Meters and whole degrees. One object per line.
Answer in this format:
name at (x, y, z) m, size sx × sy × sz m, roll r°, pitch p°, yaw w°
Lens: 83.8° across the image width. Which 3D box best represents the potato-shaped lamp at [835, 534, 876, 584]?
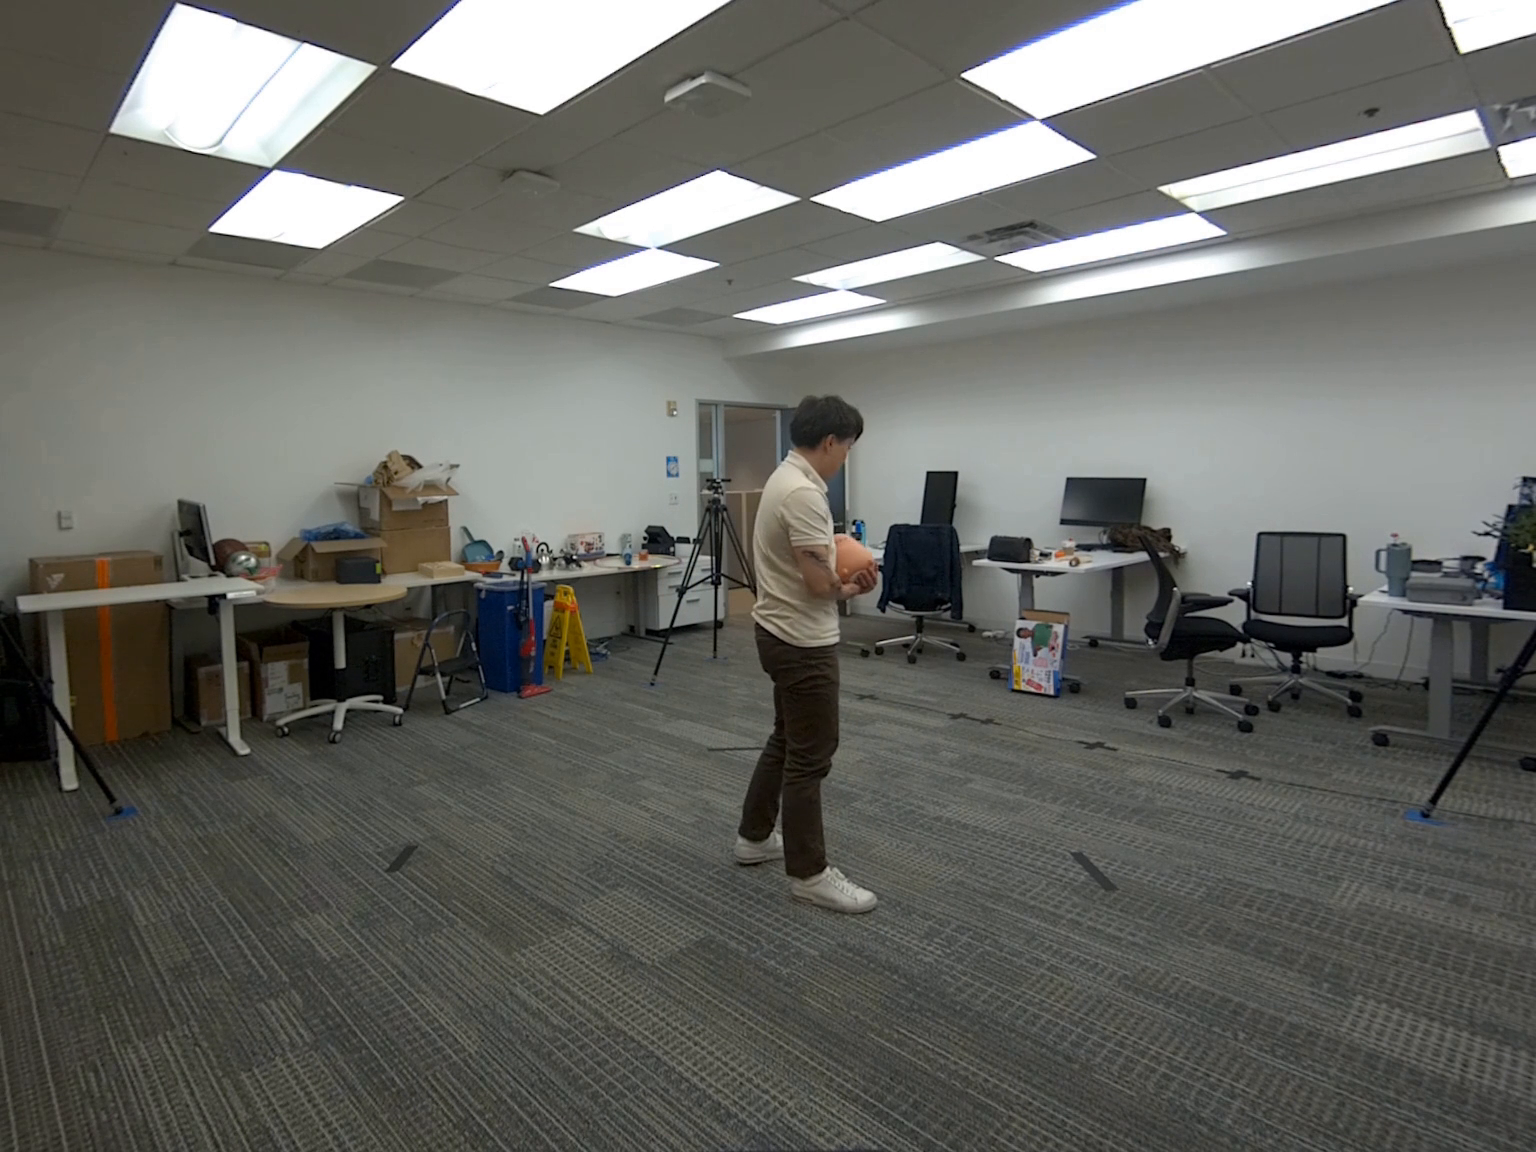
potato-shaped lamp at (0.264, -0.058, 2.979) m, size 0.163 × 0.205 × 0.167 m, roll -22°, pitch -34°, yaw -14°
